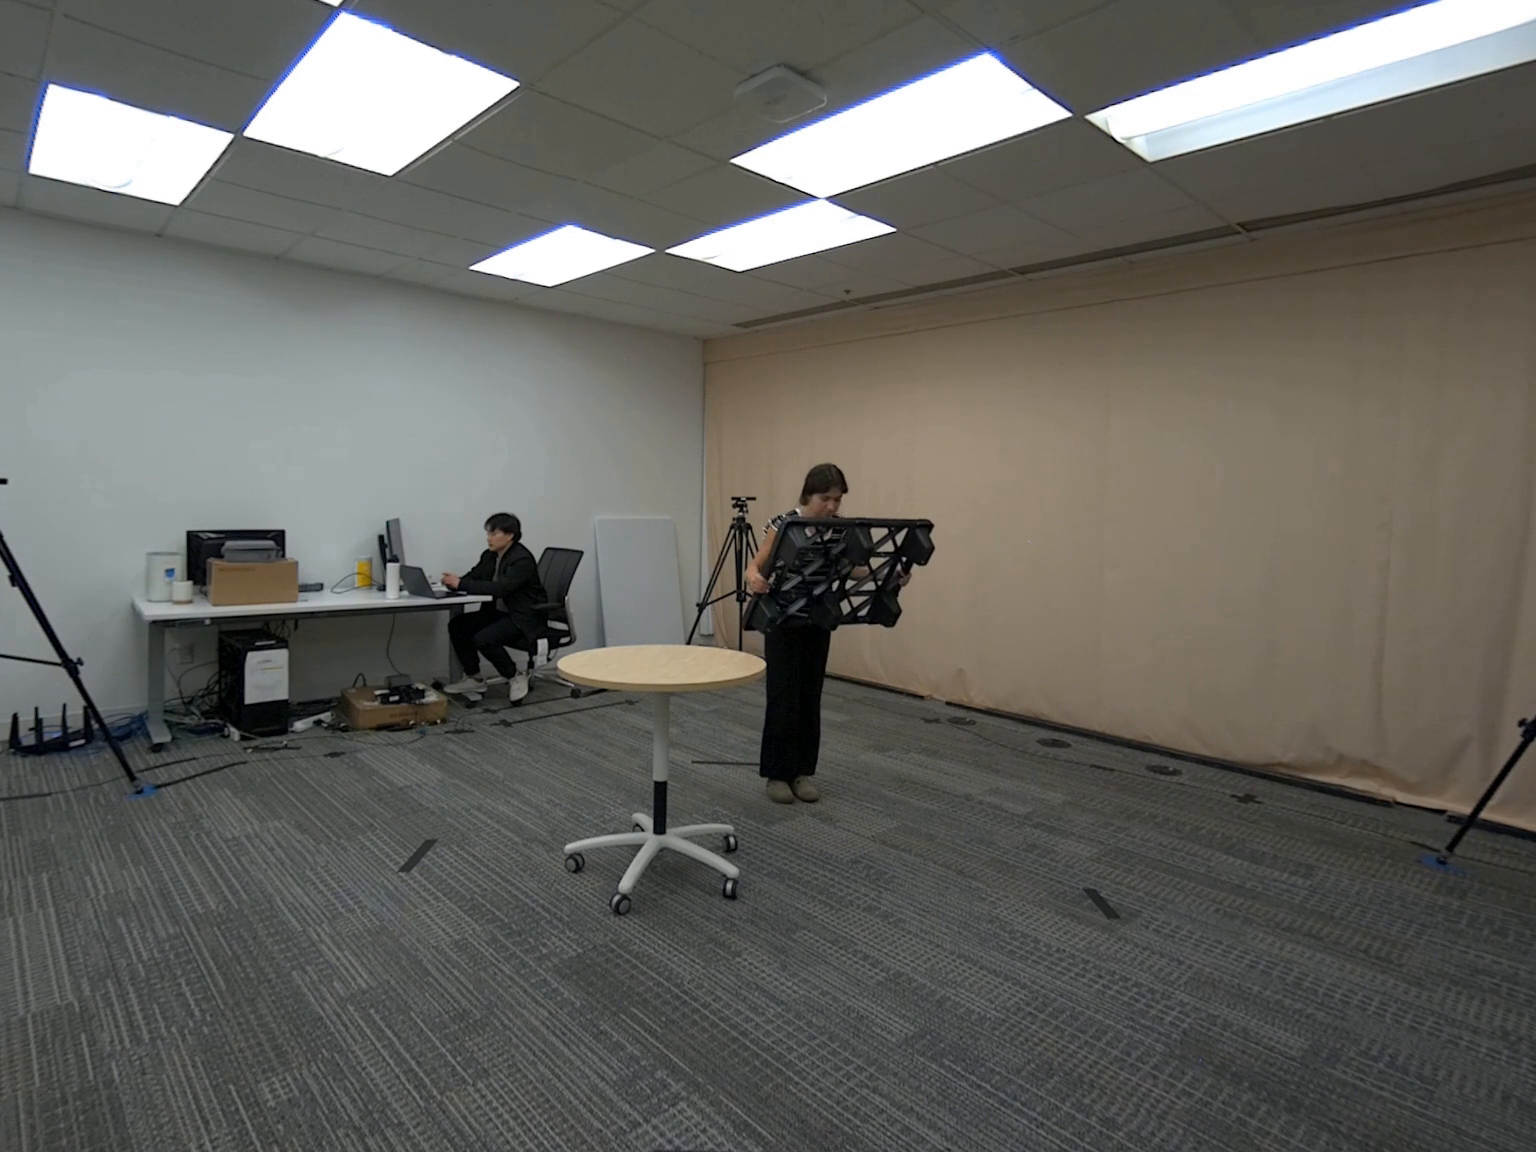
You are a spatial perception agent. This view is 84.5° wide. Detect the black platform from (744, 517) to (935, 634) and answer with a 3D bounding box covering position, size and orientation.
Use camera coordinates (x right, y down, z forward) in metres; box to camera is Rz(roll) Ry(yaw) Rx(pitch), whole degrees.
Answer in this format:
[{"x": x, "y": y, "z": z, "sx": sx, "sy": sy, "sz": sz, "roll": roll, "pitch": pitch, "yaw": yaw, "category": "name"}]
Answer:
[{"x": 0.326, "y": 0.027, "z": 3.724, "sx": 0.789, "sy": 0.598, "sz": 0.148, "roll": -1, "pitch": 39, "yaw": -29, "category": "black platform"}]
